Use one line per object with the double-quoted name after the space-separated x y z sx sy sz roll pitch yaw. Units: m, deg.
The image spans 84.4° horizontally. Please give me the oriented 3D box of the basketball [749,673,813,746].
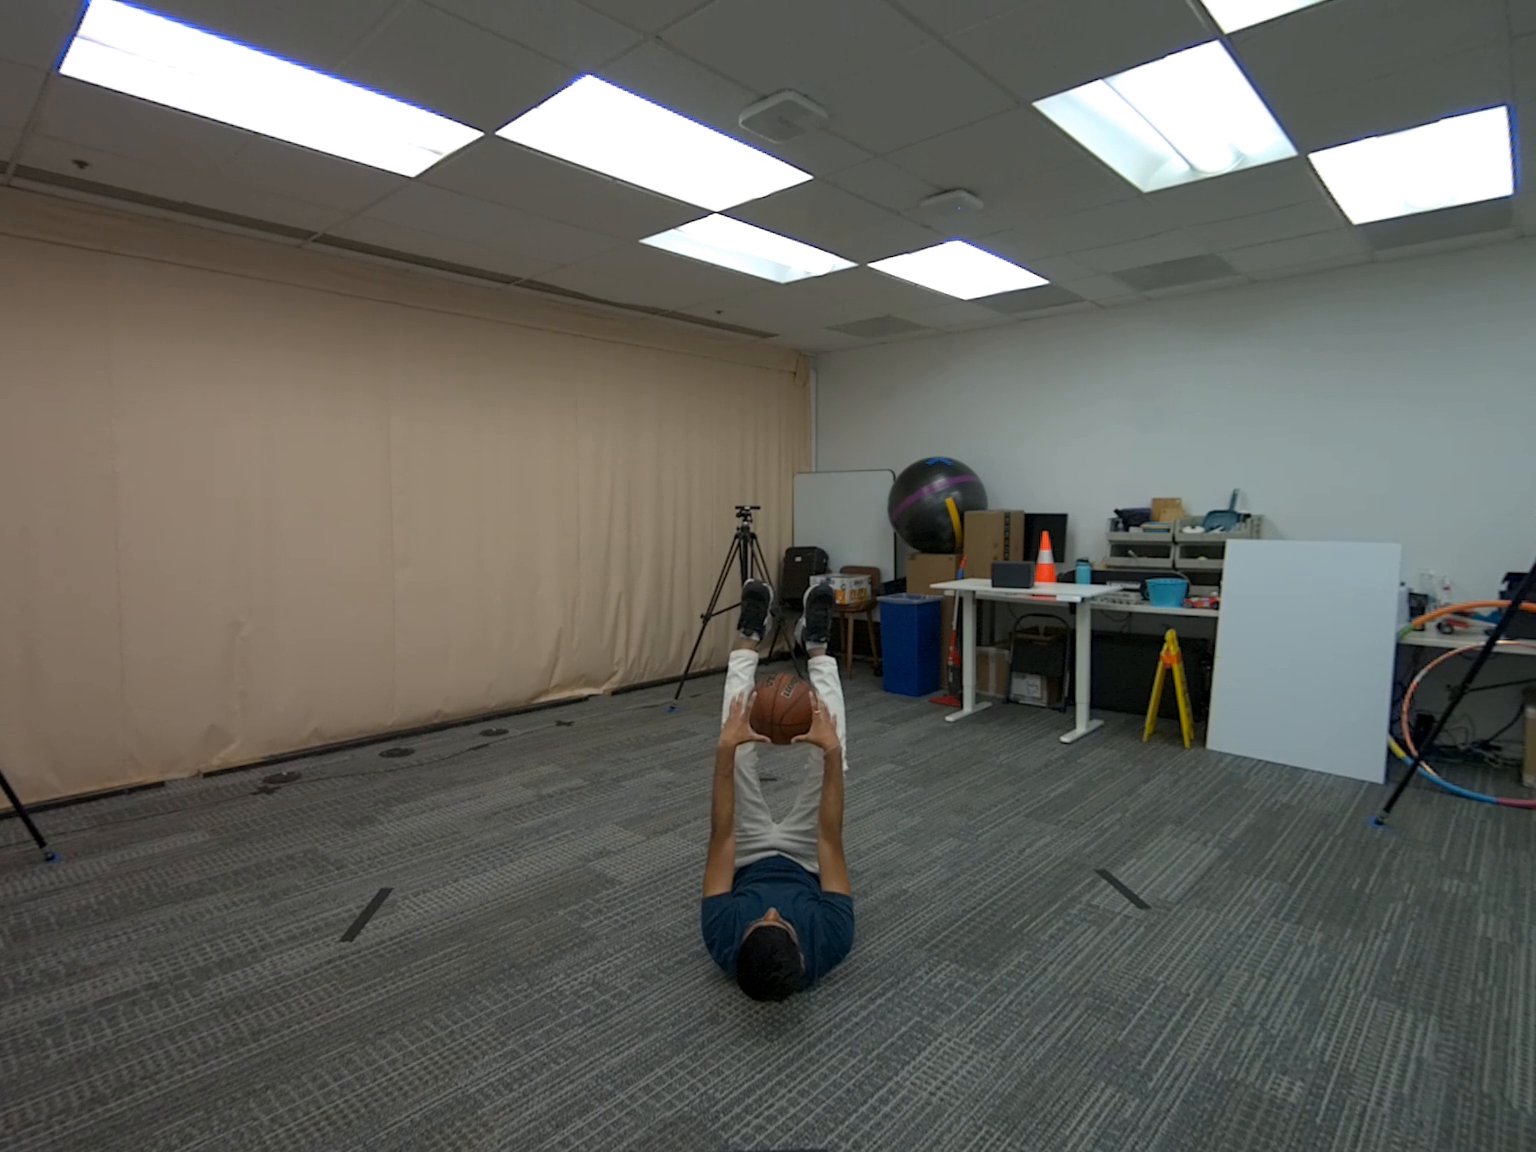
0.056 0.449 2.827 0.236 0.235 0.237 0 4 -2 "basketball"
